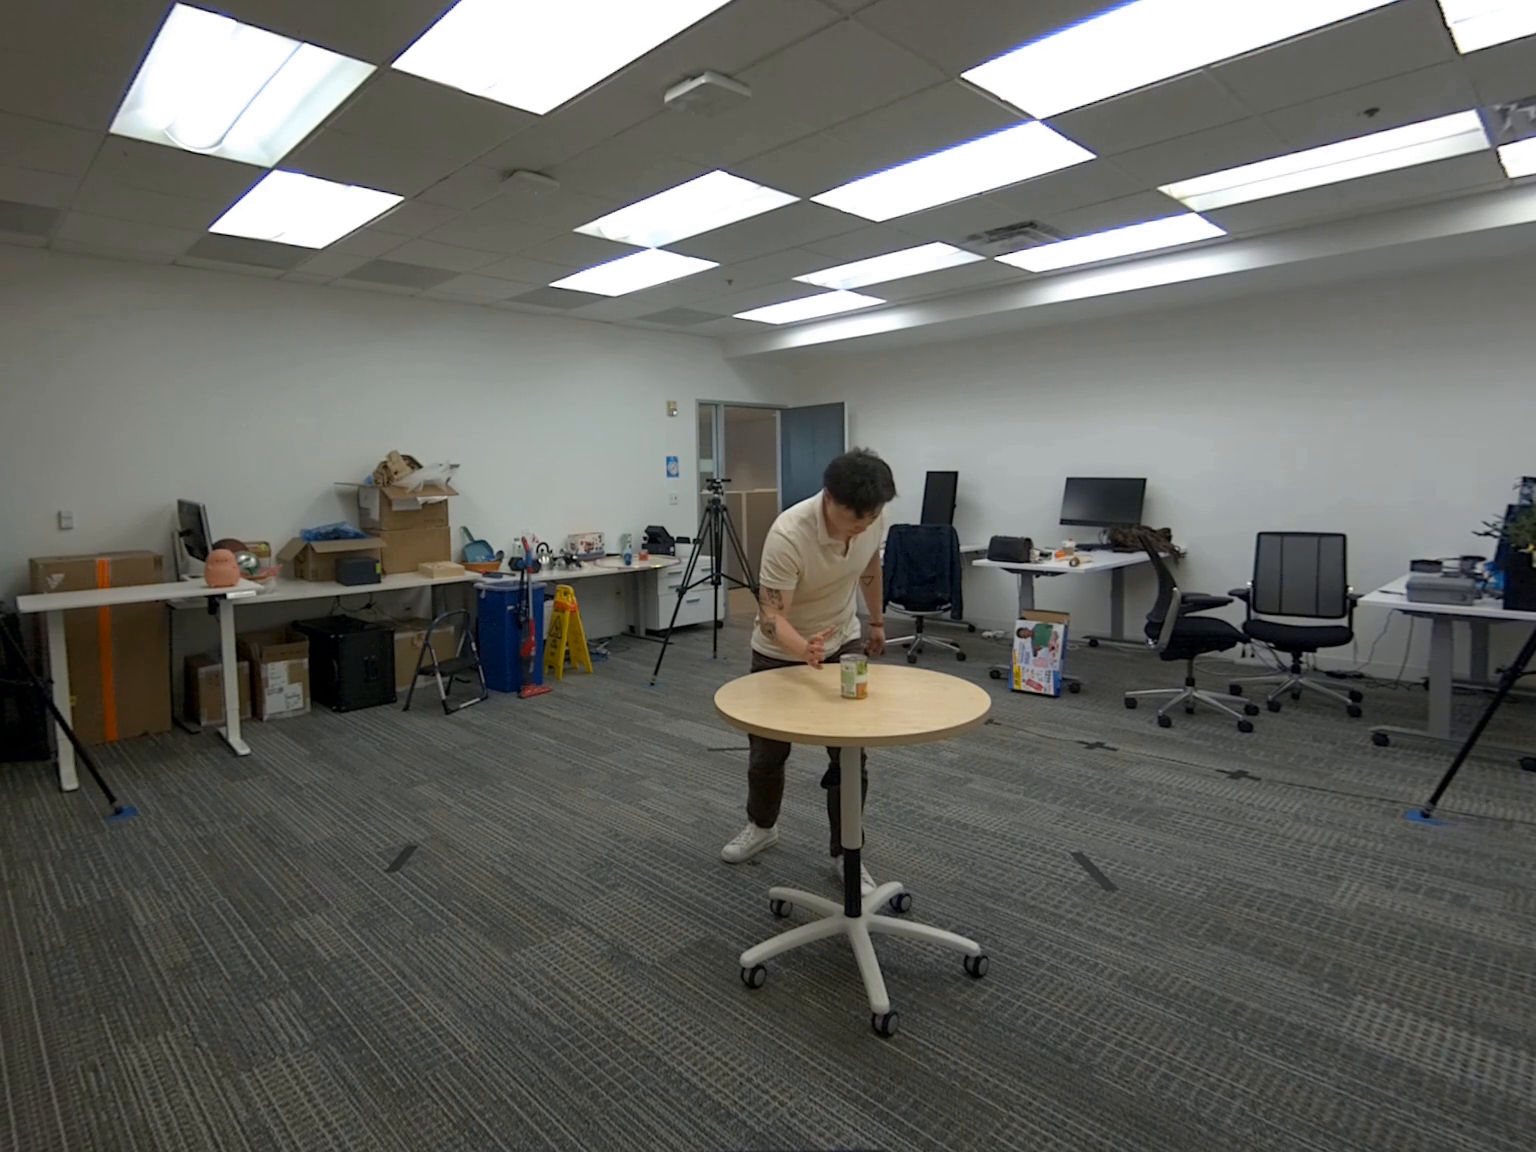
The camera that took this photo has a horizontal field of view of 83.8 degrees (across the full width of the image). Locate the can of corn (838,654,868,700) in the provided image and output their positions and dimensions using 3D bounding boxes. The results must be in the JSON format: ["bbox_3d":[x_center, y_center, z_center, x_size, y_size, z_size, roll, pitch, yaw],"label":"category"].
[{"bbox_3d":[0.244,0.284,2.388,0.074,0.110,0.075,-3,8,-1],"label":"can of corn"}]
